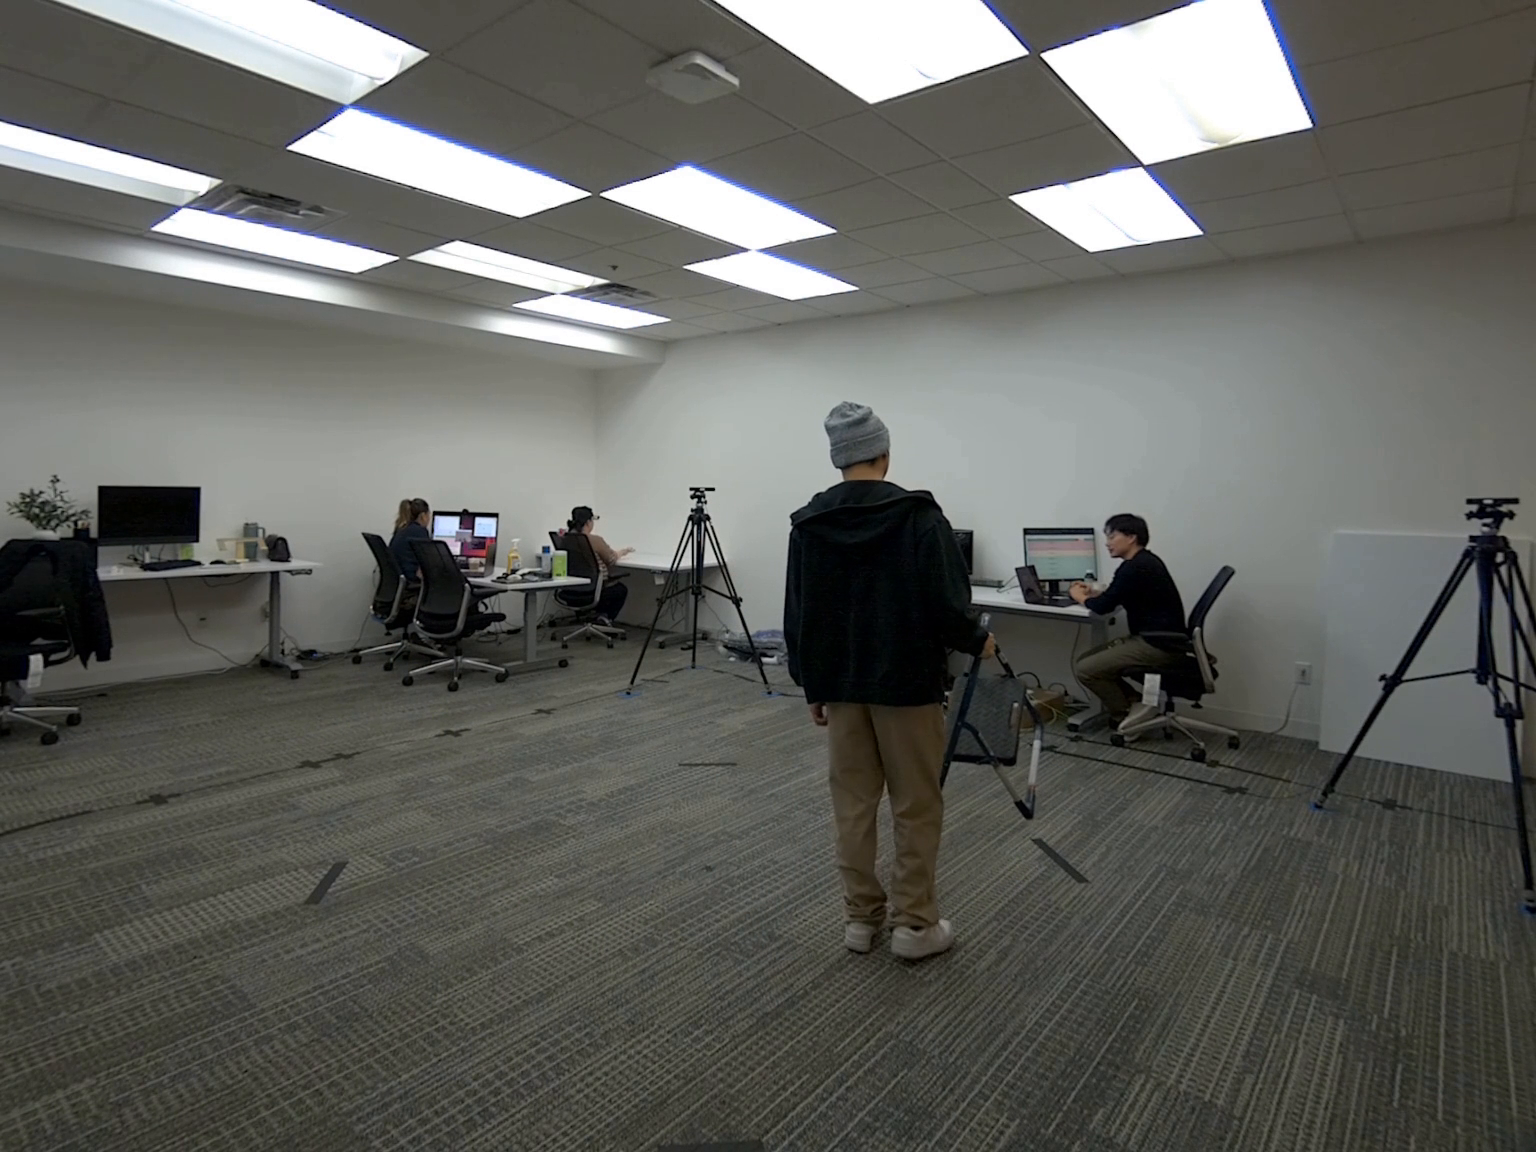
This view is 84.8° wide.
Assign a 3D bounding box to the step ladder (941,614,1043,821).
[{"bbox_3d":[0.675,0.439,2.849,0.358,0.586,0.435,-4,36,28],"label":"step ladder"}]
